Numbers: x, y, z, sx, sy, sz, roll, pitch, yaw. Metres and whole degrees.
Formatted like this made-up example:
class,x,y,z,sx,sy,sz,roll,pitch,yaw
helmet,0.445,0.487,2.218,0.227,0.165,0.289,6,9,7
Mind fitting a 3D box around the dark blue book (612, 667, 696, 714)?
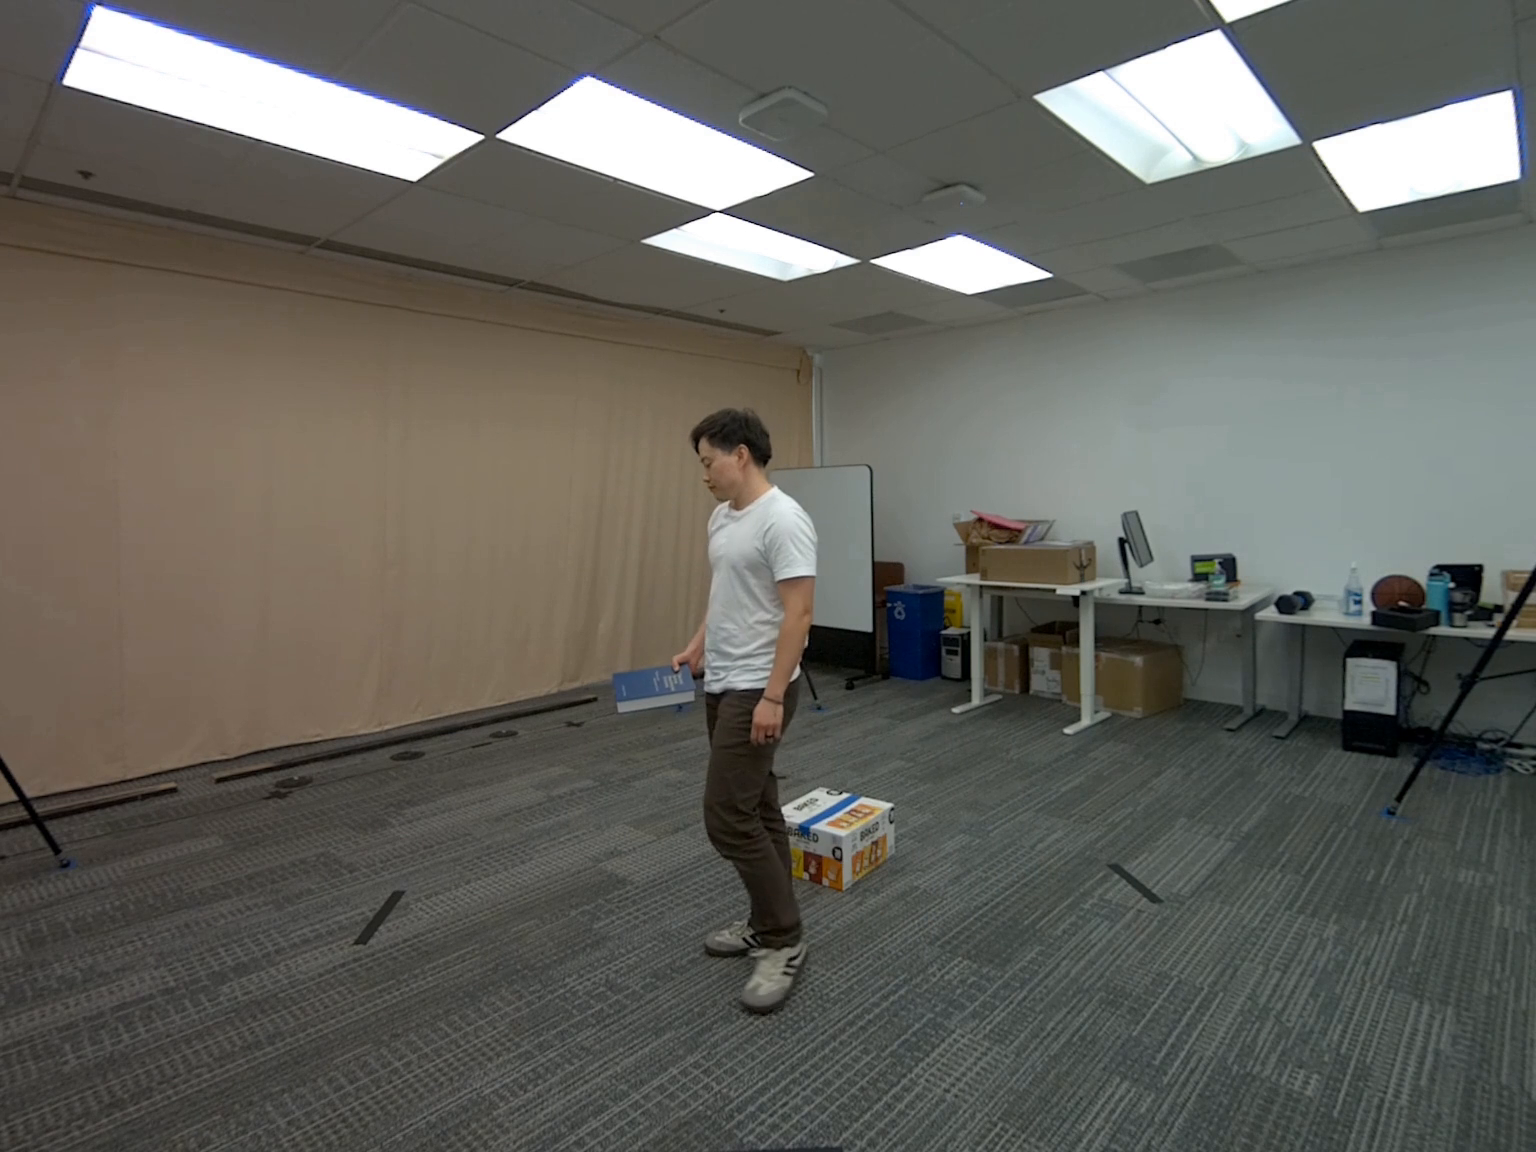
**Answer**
class,x,y,z,sx,sy,sz,roll,pitch,yaw
dark blue book,-0.360,0.349,2.618,0.244,0.044,0.166,-6,24,-4
